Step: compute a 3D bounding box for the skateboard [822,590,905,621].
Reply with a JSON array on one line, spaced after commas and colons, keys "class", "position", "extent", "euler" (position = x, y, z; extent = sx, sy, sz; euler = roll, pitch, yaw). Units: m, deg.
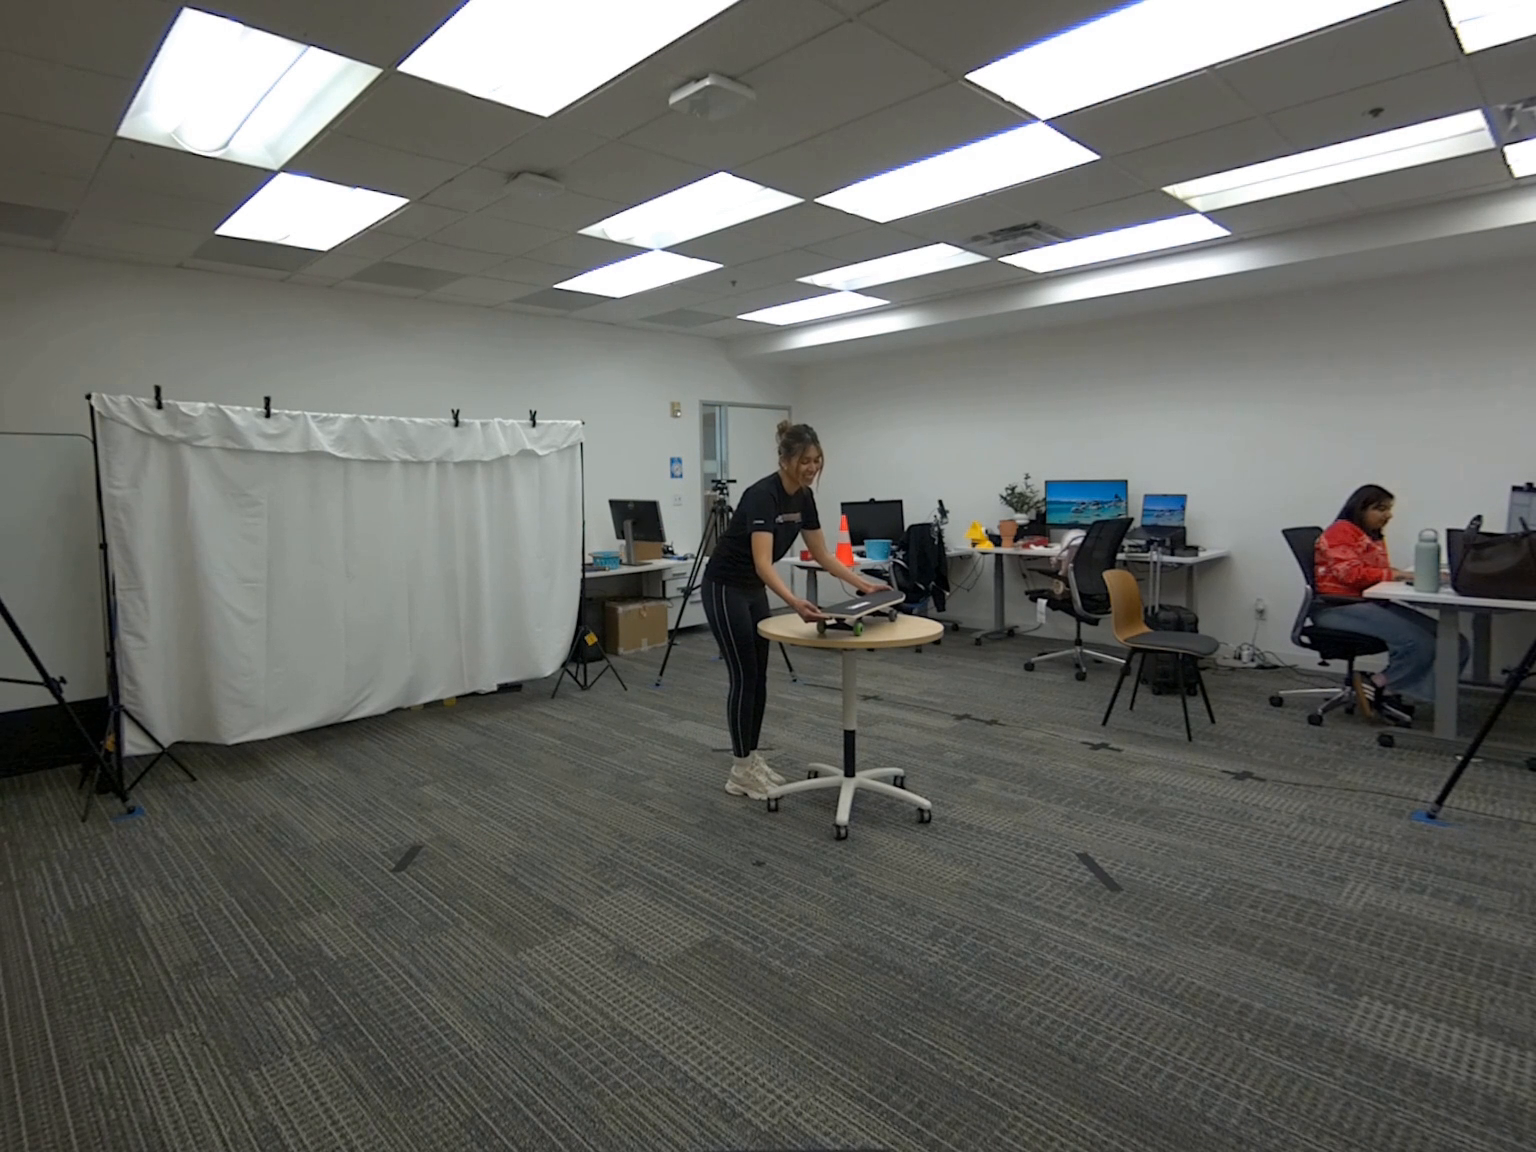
[{"class": "skateboard", "position": [0.364, 0.157, 3.535], "extent": [0.199, 0.110, 0.768], "euler": [3, 8, 31]}]
